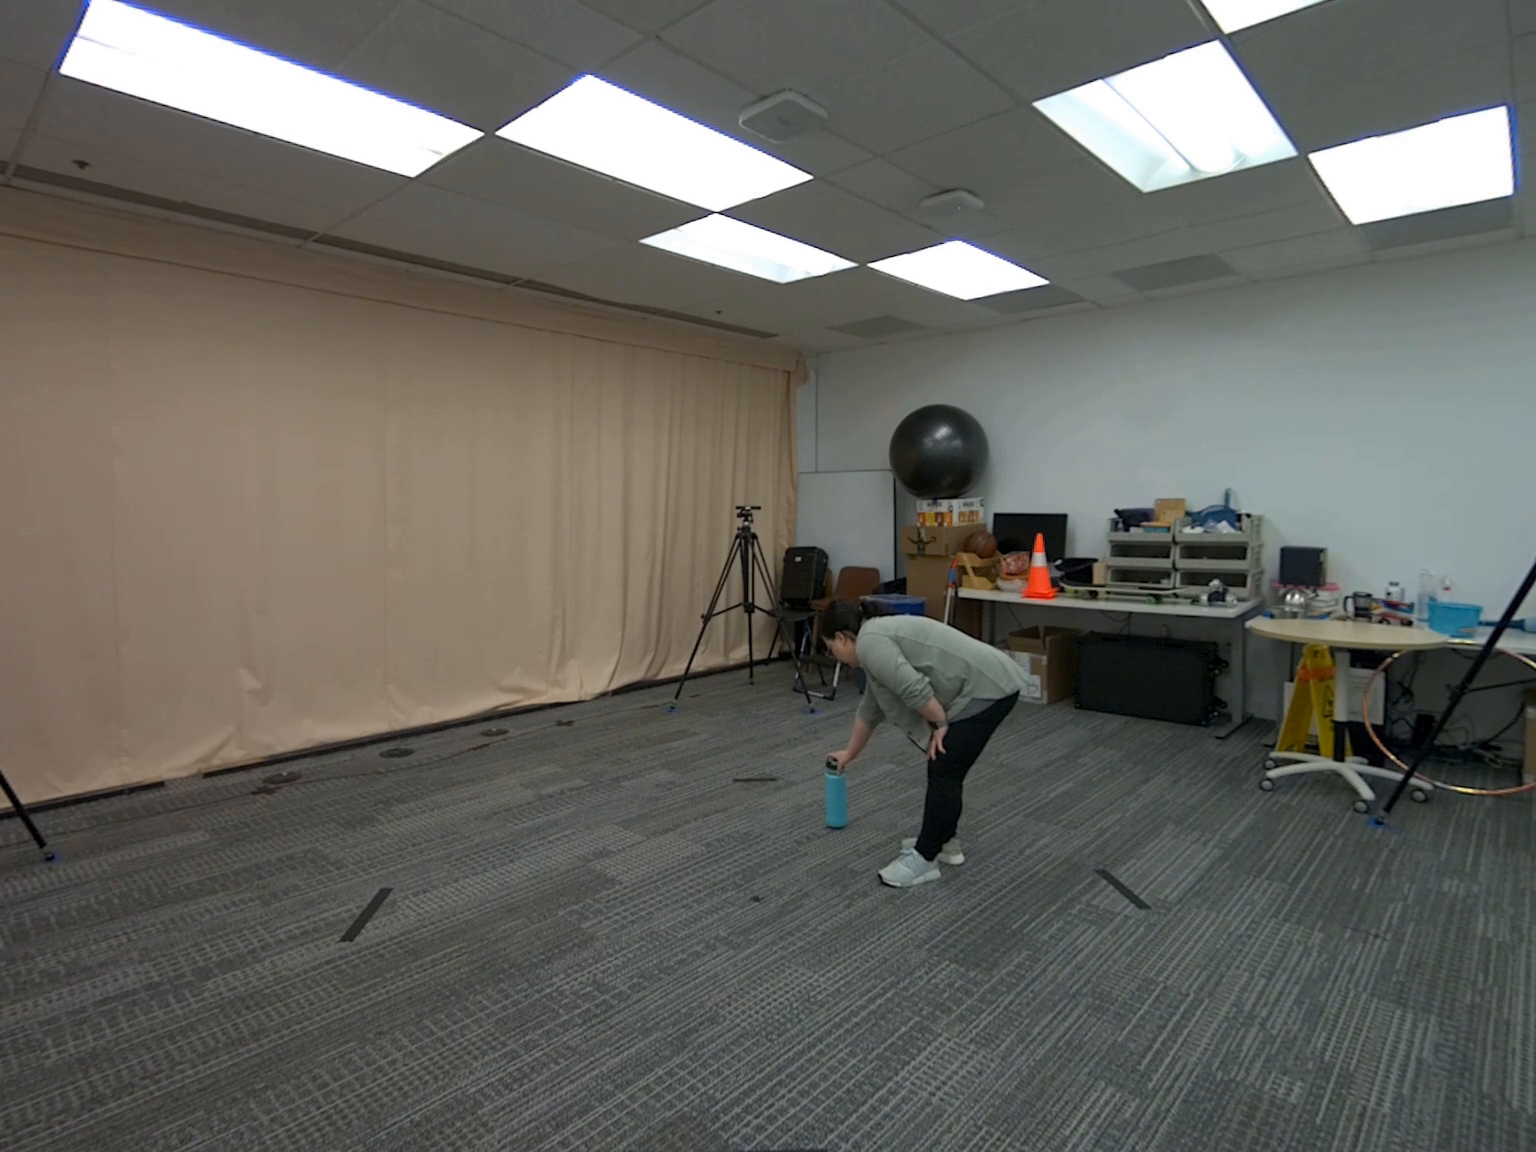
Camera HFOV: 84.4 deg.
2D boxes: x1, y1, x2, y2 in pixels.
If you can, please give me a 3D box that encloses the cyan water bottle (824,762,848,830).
[{"bbox_3d":[0.295,0.932,3.645,0.092,0.282,0.093,-2,5,-2],"label":"cyan water bottle"}]
